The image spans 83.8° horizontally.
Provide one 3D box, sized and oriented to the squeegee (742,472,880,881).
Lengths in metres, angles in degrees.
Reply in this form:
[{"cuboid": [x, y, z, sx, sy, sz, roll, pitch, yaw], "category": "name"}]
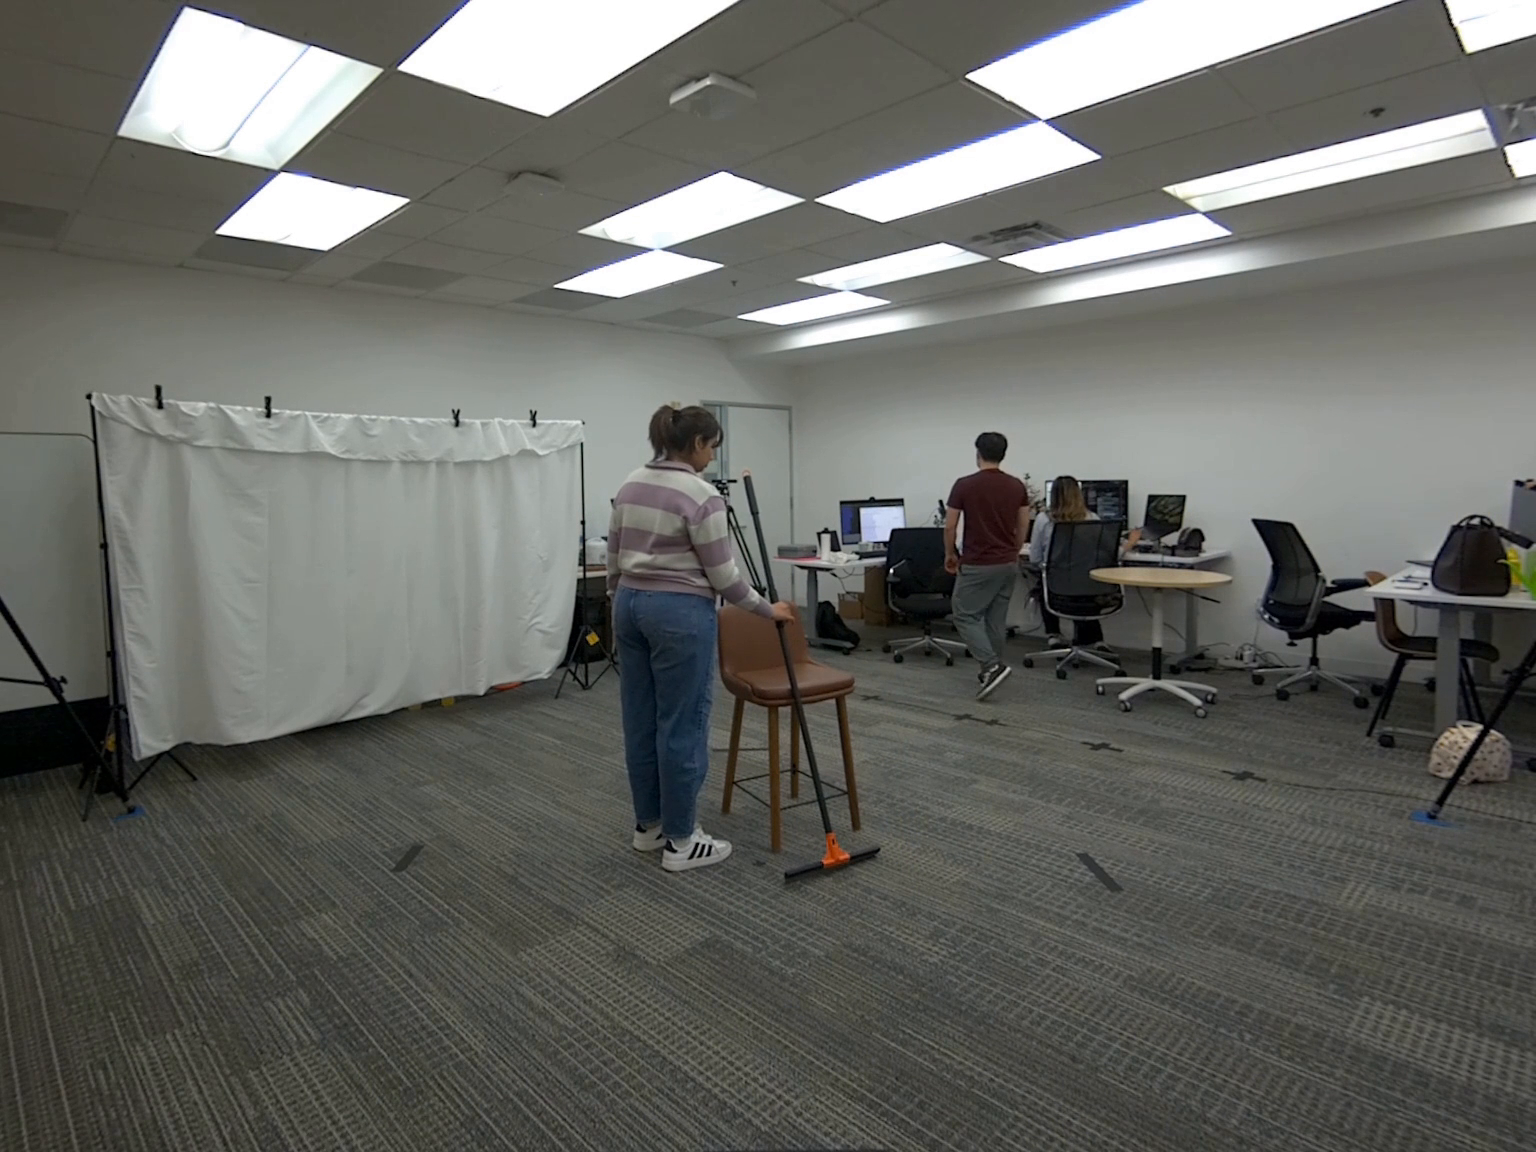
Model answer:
[{"cuboid": [0.088, 0.303, 3.242, 0.425, 1.565, 0.053, 0, -20, -35], "category": "squeegee"}]
